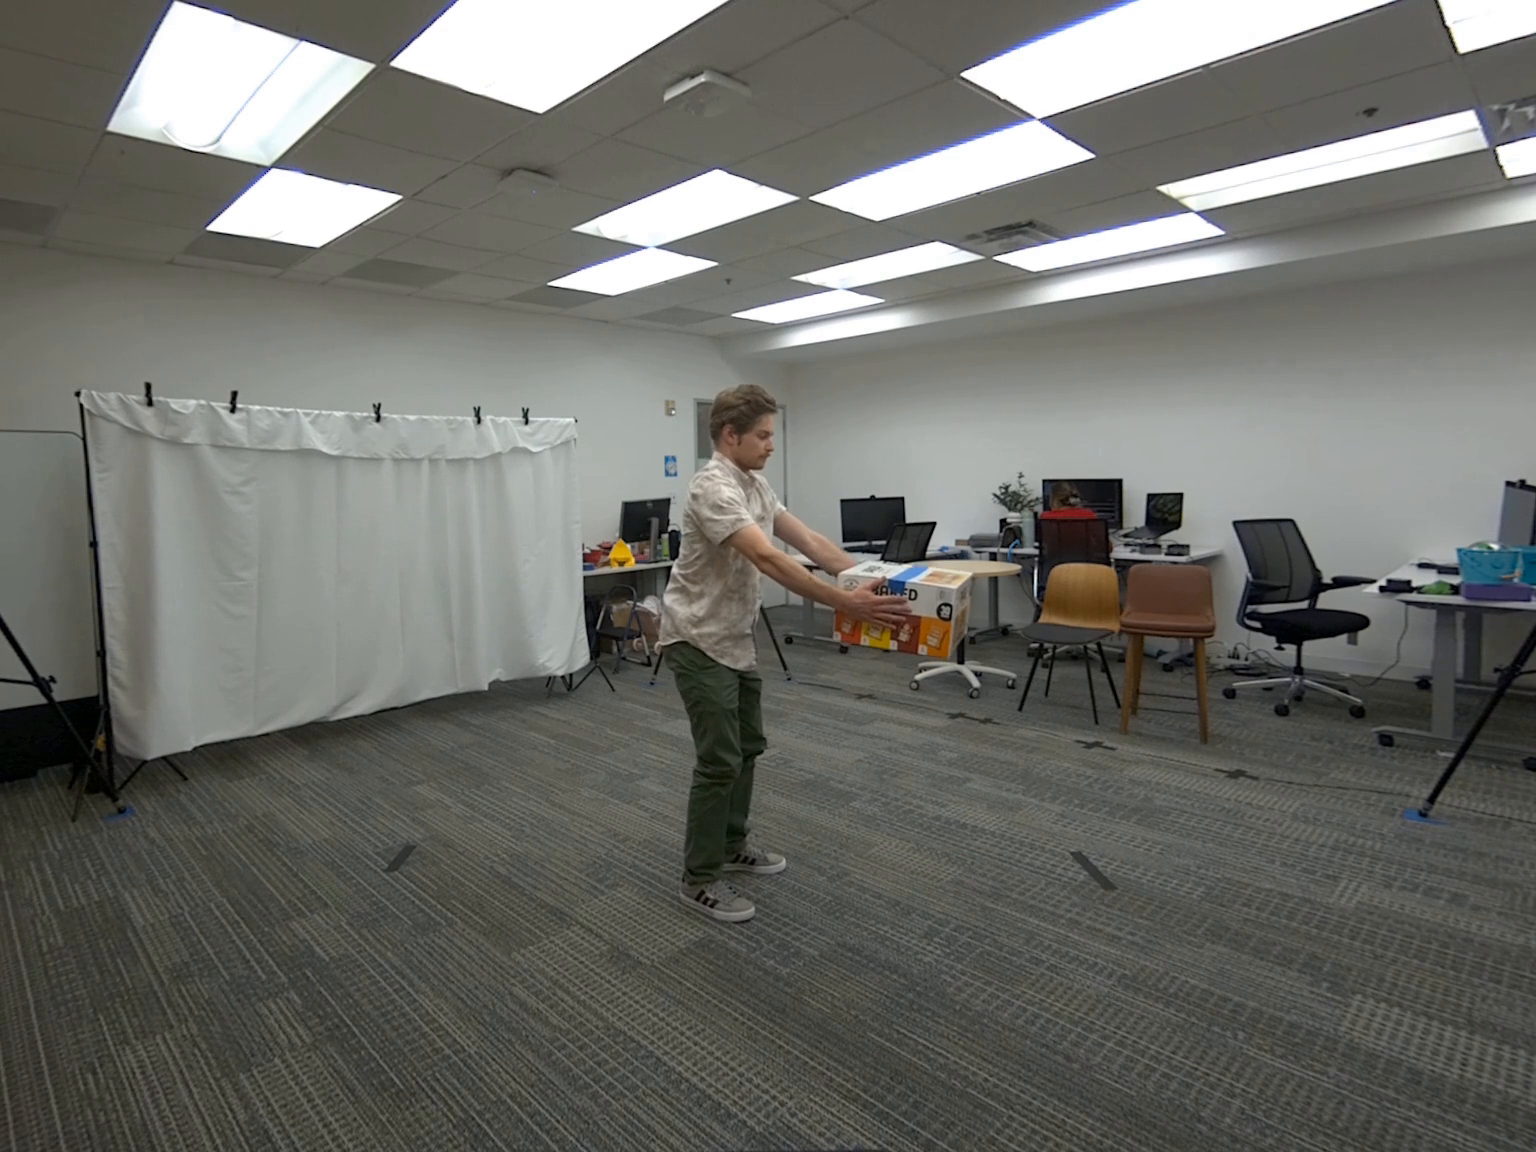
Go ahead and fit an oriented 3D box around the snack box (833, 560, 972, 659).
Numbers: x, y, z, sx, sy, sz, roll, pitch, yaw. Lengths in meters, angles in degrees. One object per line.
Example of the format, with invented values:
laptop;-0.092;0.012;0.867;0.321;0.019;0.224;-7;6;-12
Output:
snack box;0.426;0.096;2.626;0.348;0.204;0.399;7;9;20
